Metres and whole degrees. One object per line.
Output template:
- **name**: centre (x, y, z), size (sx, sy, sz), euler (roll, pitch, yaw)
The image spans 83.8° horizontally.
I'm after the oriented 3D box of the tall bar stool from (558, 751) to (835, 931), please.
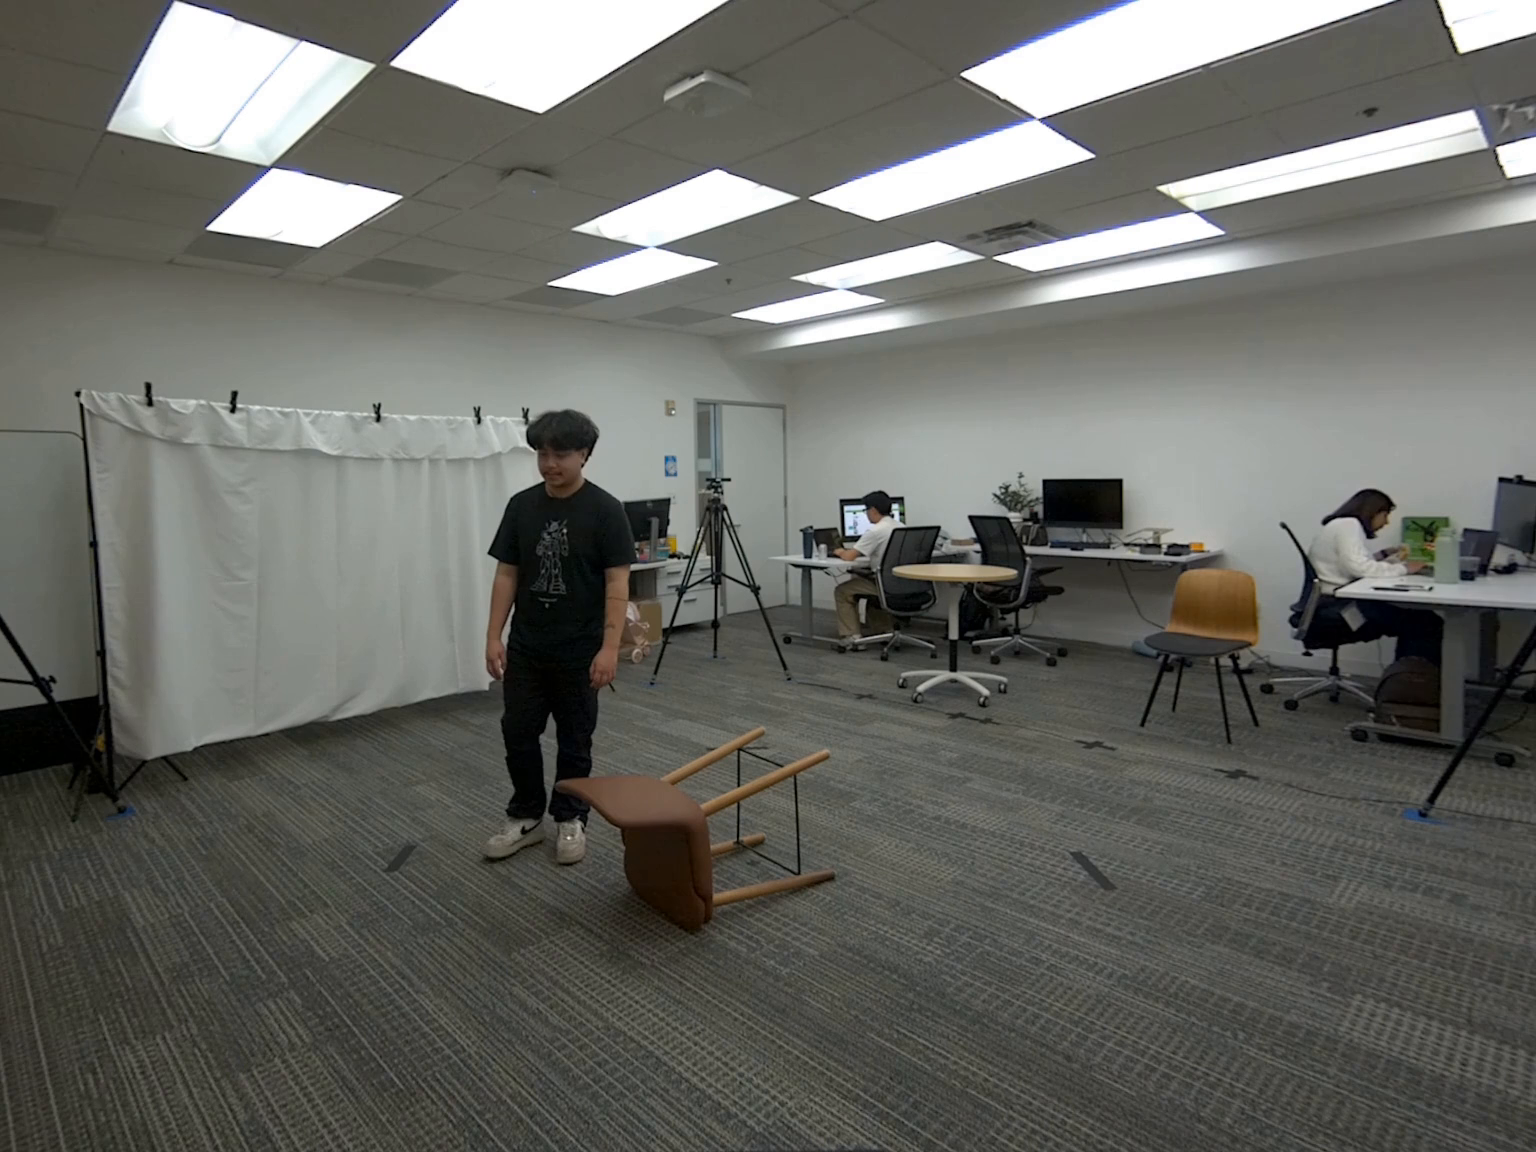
- **tall bar stool**: centre (-0.231, 0.846, 2.851), size (0.866, 0.465, 0.471), euler (-5, 7, -39)
